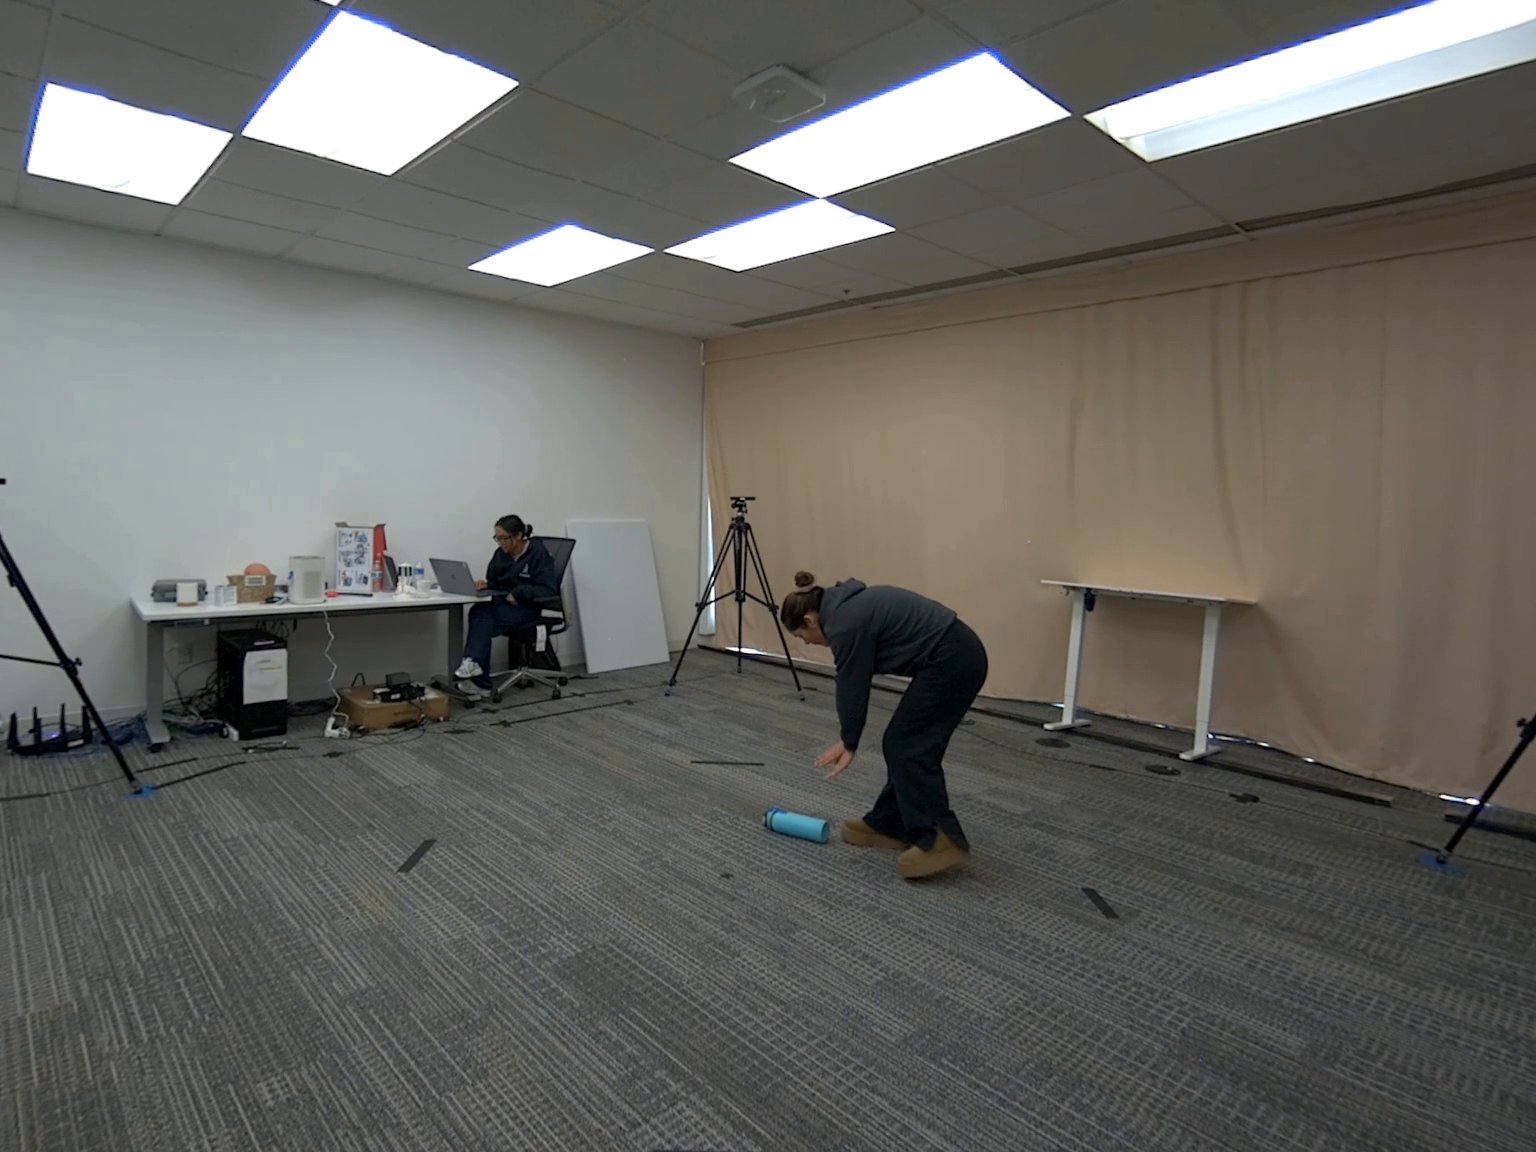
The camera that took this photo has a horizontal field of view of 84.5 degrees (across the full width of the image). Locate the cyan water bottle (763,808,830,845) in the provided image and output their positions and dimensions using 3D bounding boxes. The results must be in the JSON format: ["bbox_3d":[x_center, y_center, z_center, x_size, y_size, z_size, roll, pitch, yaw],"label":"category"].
[{"bbox_3d":[0.103,1.024,3.515,0.290,0.092,0.090,5,6,30],"label":"cyan water bottle"}]
